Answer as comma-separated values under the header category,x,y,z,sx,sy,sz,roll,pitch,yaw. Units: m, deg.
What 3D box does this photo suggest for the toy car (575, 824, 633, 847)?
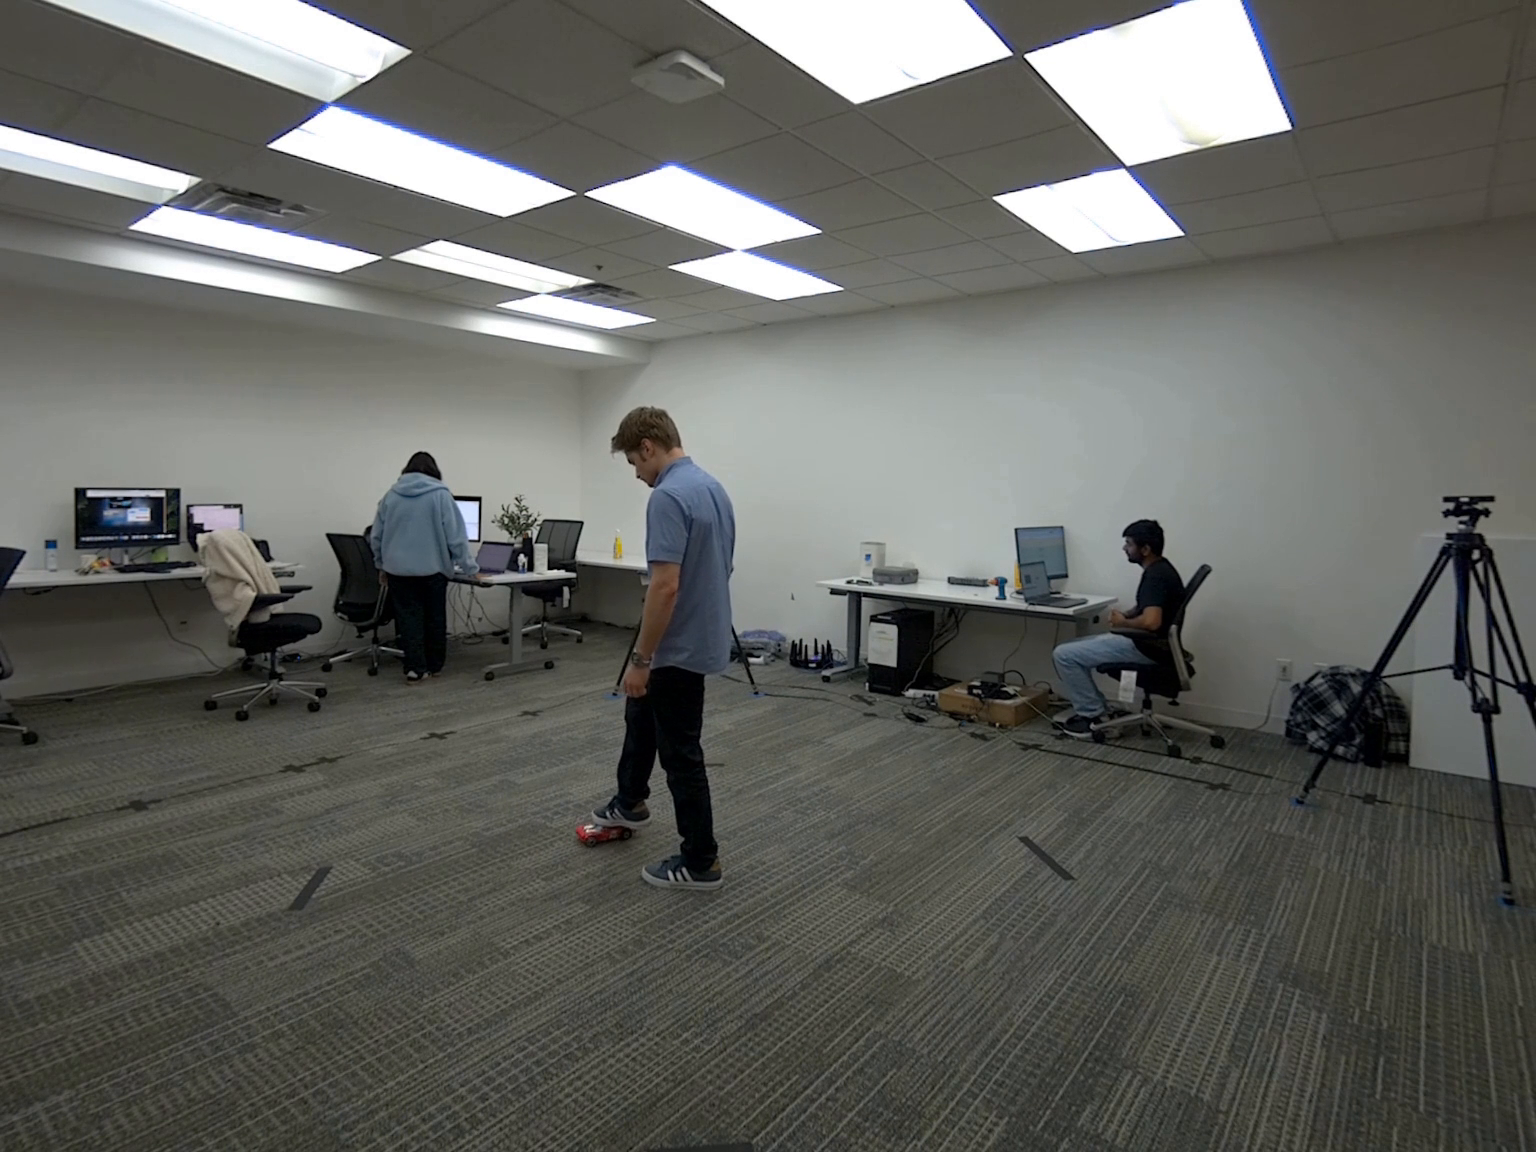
category,x,y,z,sx,sy,sz,roll,pitch,yaw
toy car,-0.636,1.007,3.377,0.249,0.082,0.134,-13,10,-27
